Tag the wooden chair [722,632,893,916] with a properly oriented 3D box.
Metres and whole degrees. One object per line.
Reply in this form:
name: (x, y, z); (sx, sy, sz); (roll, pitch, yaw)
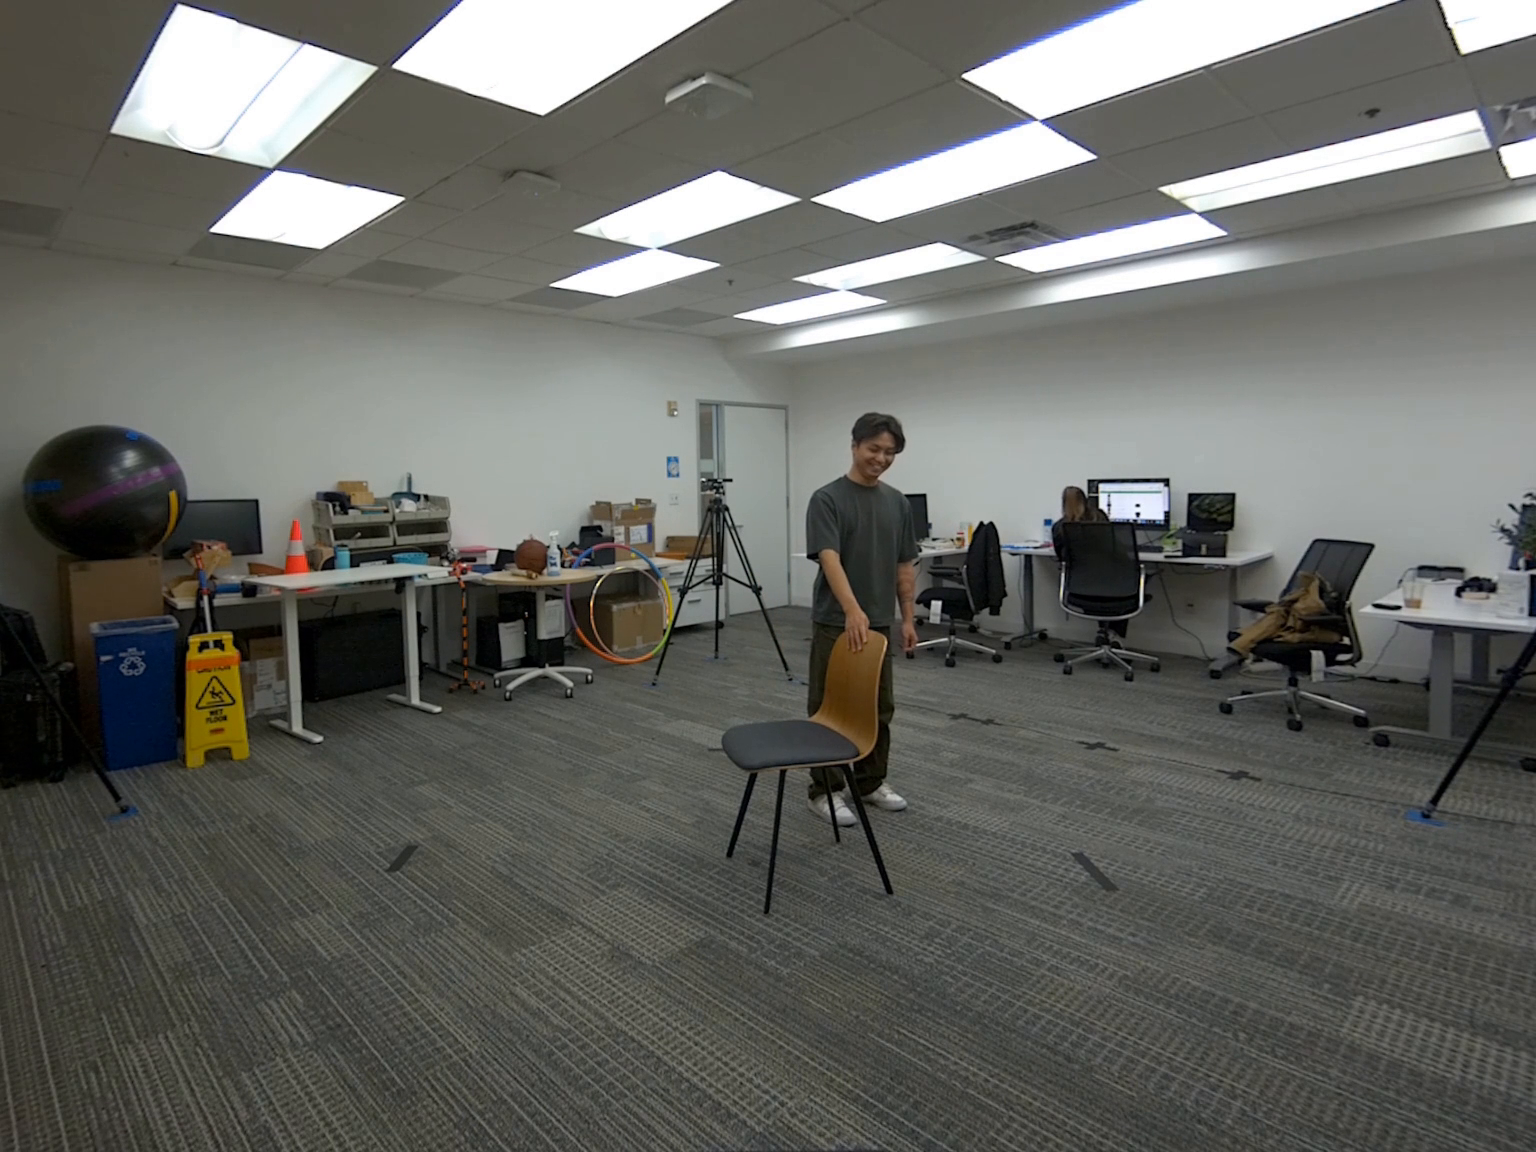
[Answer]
wooden chair: (0.122, 0.629, 2.977); (0.514, 0.875, 0.487); (2, 4, -17)
